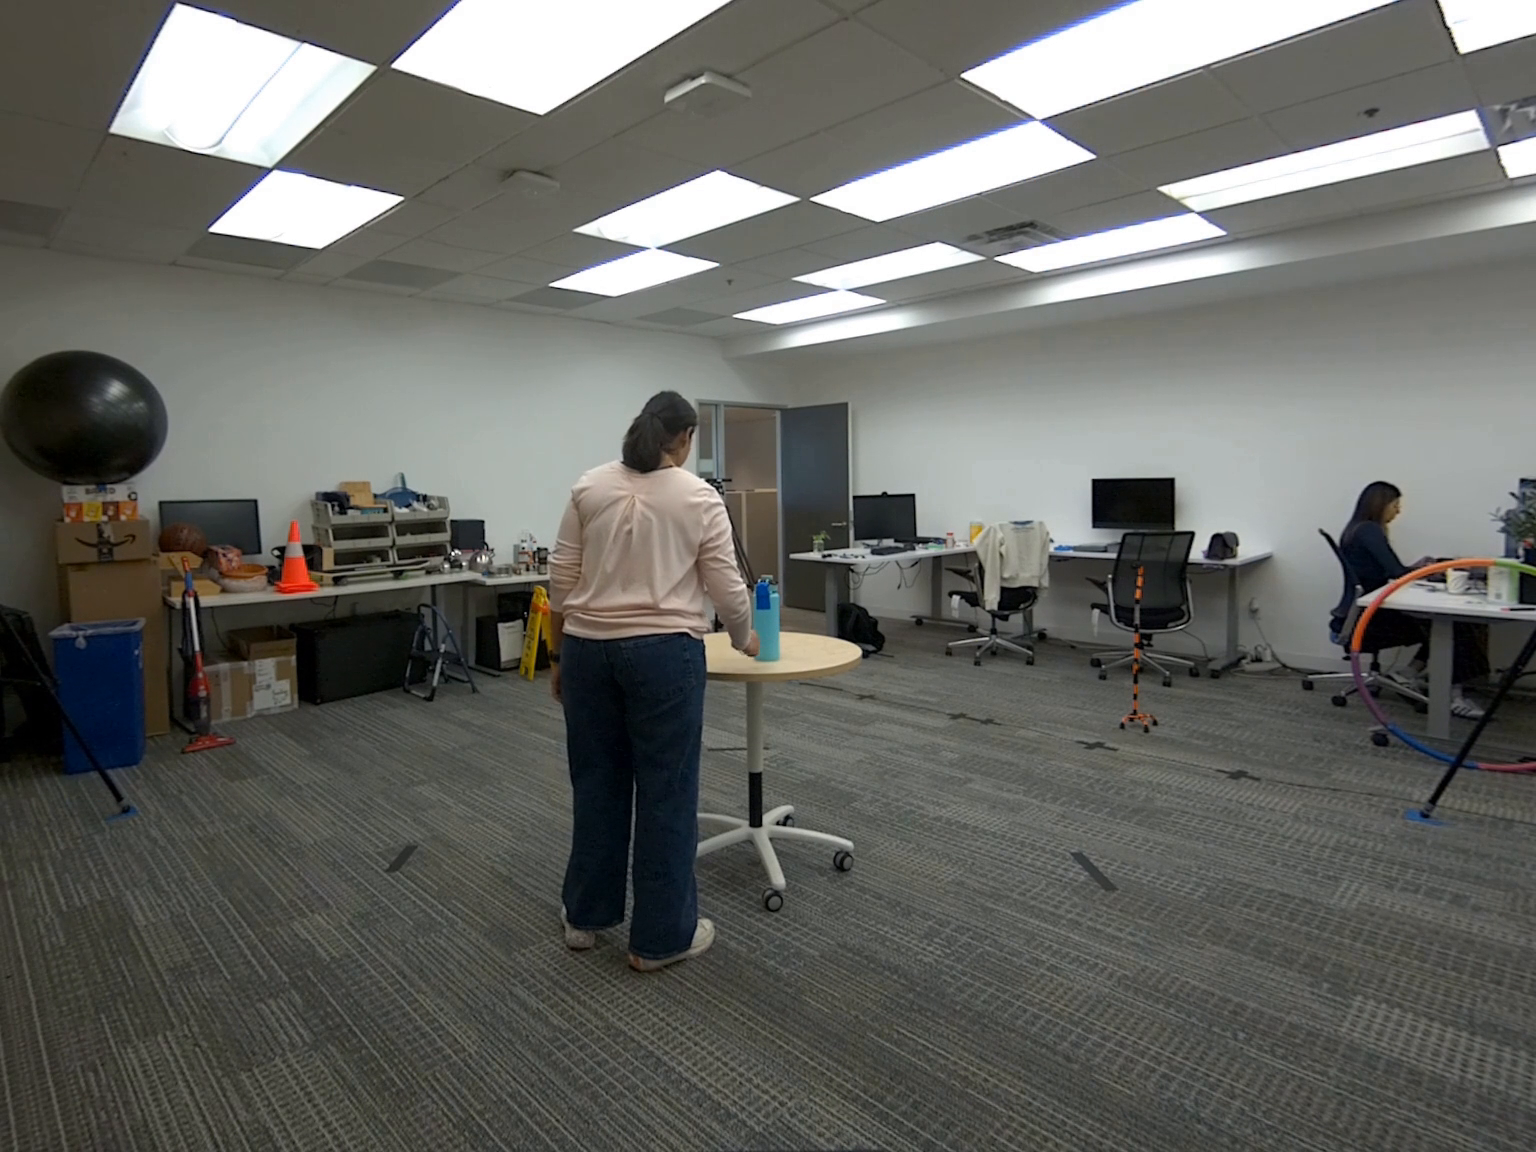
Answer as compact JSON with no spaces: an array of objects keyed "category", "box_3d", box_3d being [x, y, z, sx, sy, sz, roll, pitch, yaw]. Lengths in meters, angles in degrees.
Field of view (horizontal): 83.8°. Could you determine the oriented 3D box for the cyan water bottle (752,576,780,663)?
[{"category":"cyan water bottle","box_3d":[0.000,0.144,2.886,0.092,0.282,0.093,1,4,-2]}]
